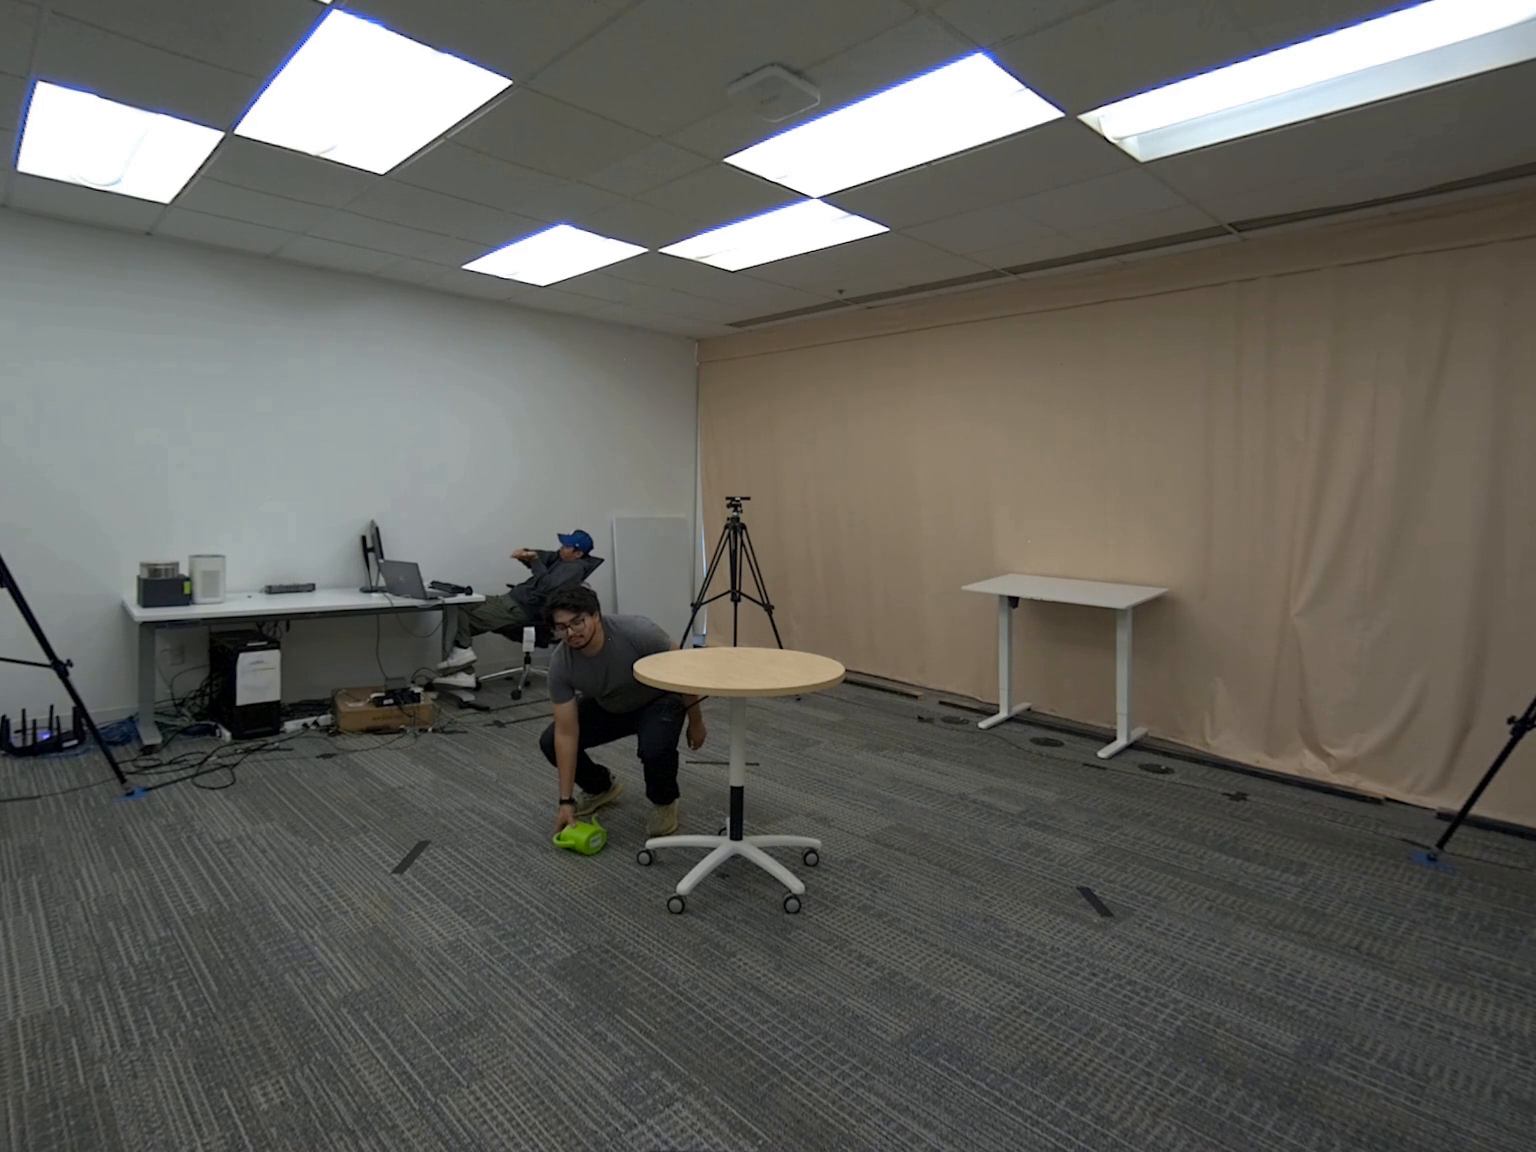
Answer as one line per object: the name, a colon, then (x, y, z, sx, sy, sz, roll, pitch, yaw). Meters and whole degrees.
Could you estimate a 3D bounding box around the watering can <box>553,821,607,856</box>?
watering can: (-0.727, 1.015, 3.351, 0.181, 0.096, 0.276, 2, 22, 33)
